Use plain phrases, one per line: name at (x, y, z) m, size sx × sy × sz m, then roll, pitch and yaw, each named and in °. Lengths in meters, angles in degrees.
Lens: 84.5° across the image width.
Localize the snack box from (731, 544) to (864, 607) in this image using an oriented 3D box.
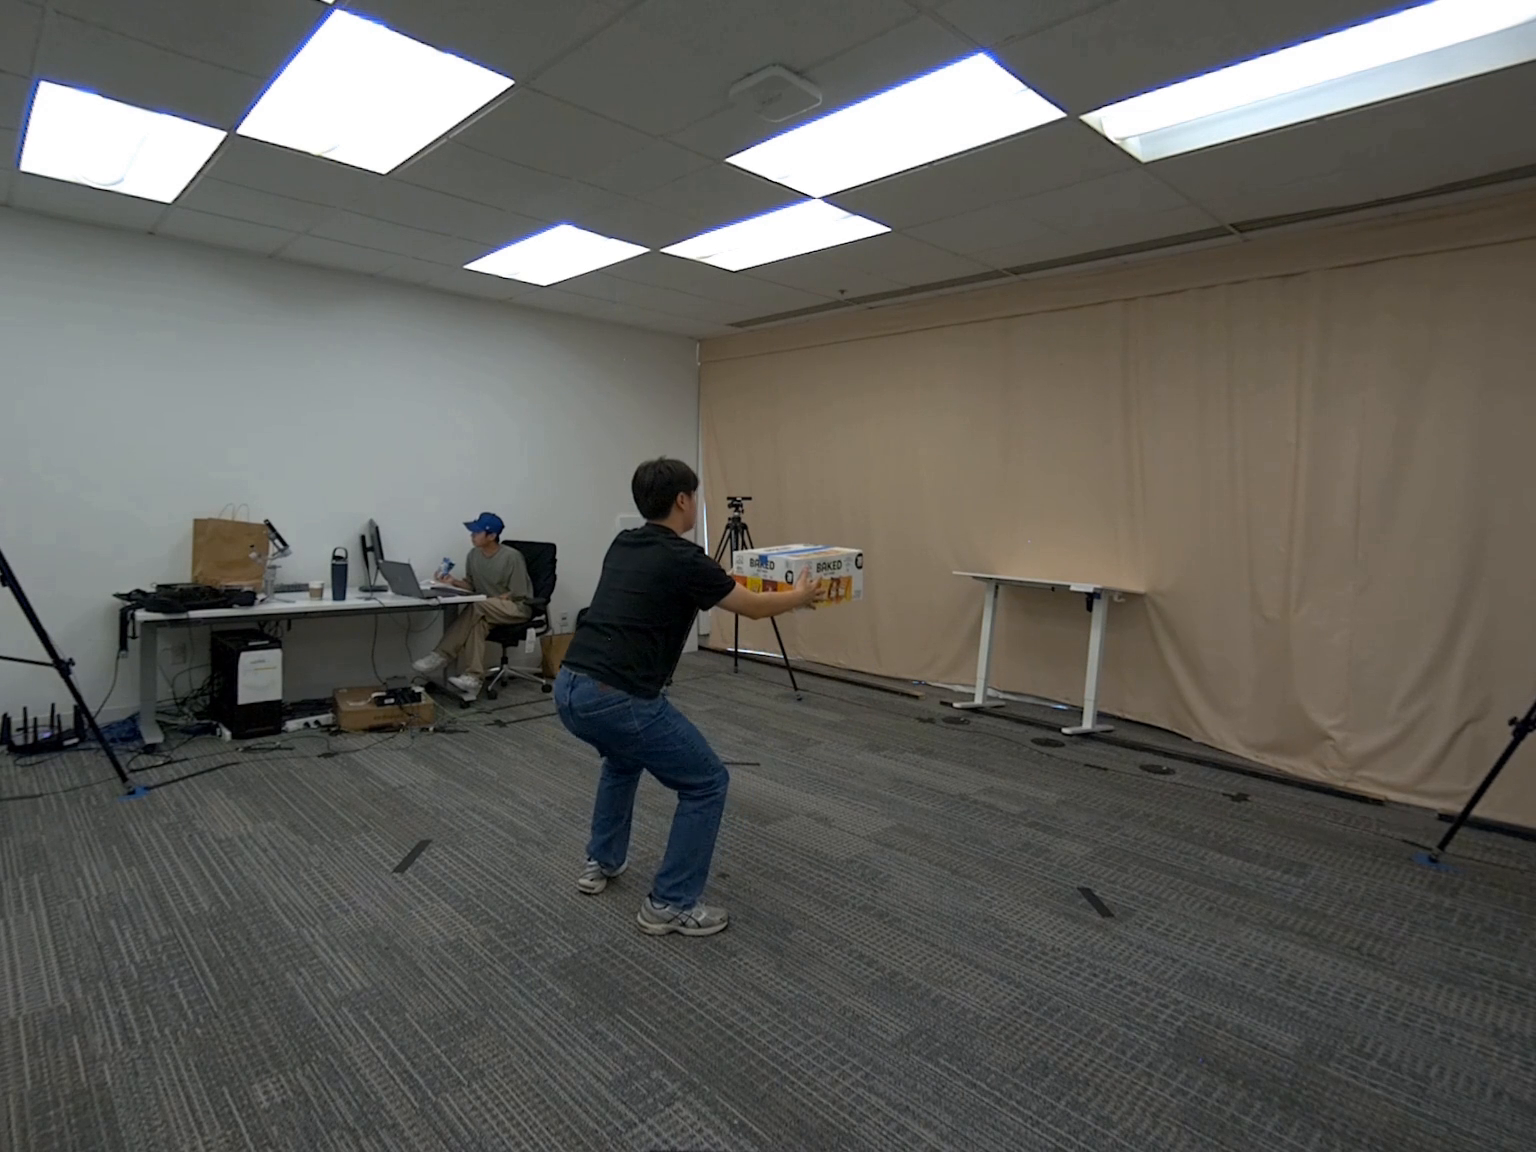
snack box at (0.116, 0.010, 3.371) m, size 0.396 × 0.204 × 0.349 m, roll -7°, pitch 11°, yaw -43°
